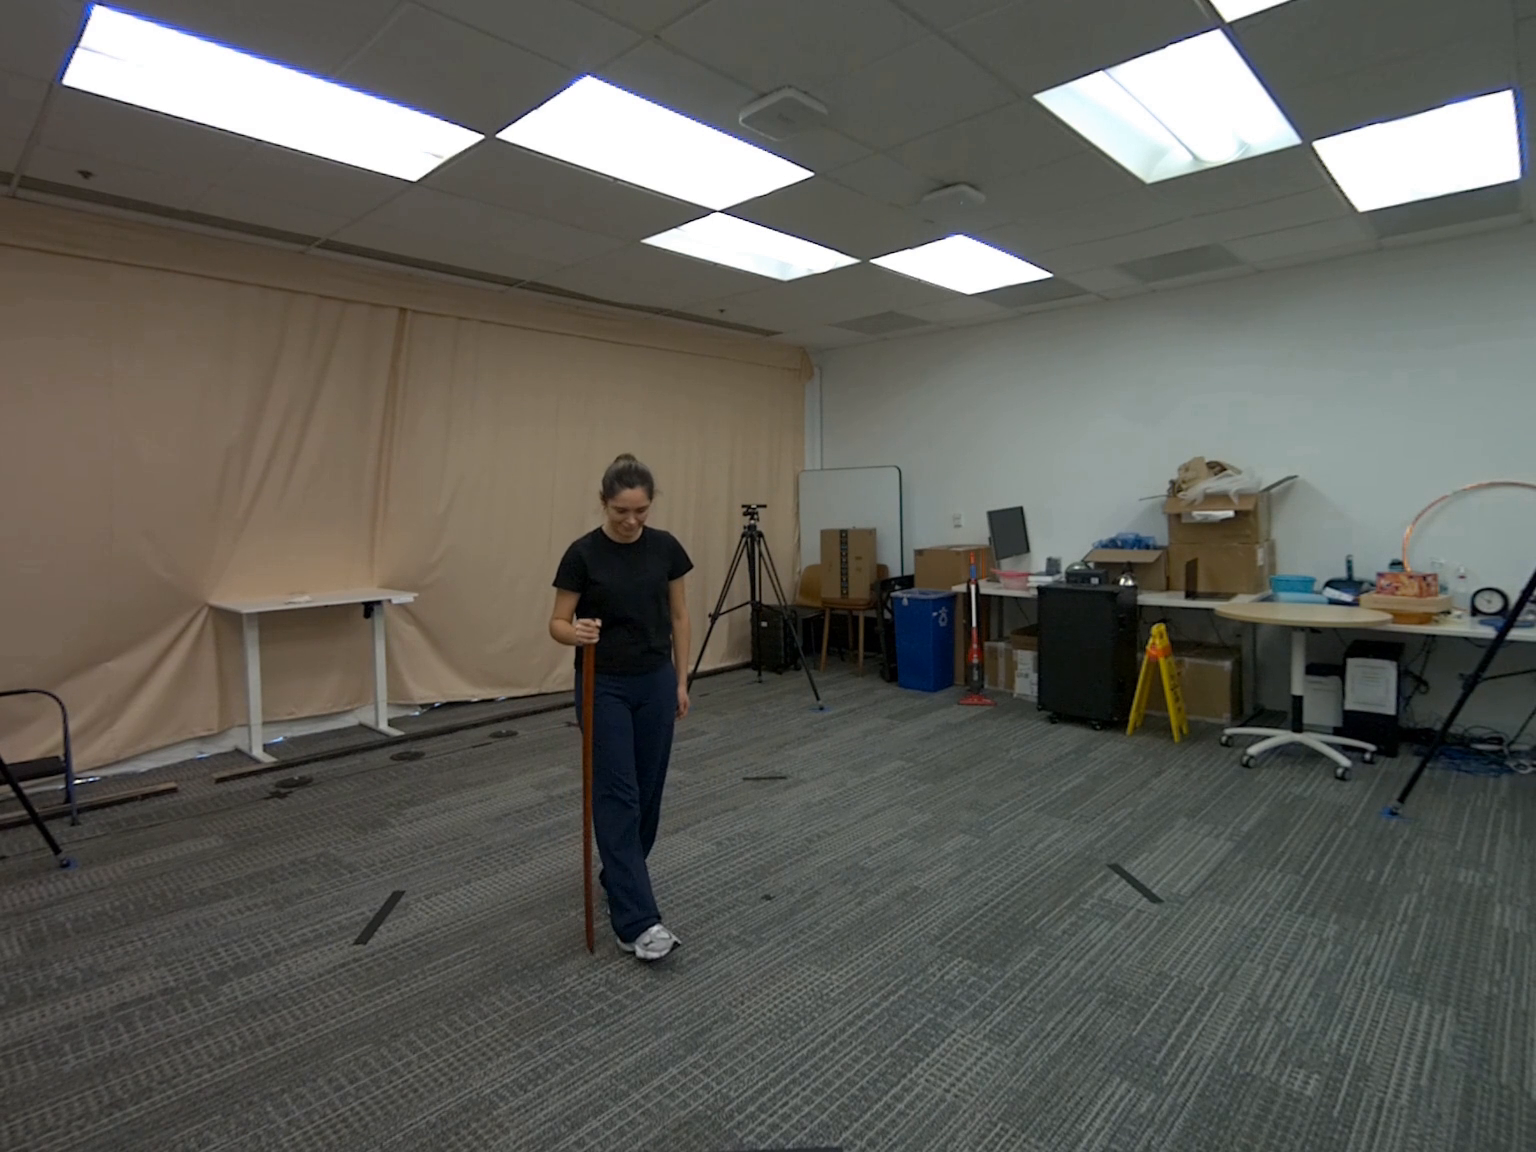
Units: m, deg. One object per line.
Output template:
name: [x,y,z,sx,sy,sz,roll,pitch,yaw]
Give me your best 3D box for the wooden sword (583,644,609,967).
wooden sword: [-0.524,0.658,2.563,0.053,1.024,0.023,-1,1,40]
